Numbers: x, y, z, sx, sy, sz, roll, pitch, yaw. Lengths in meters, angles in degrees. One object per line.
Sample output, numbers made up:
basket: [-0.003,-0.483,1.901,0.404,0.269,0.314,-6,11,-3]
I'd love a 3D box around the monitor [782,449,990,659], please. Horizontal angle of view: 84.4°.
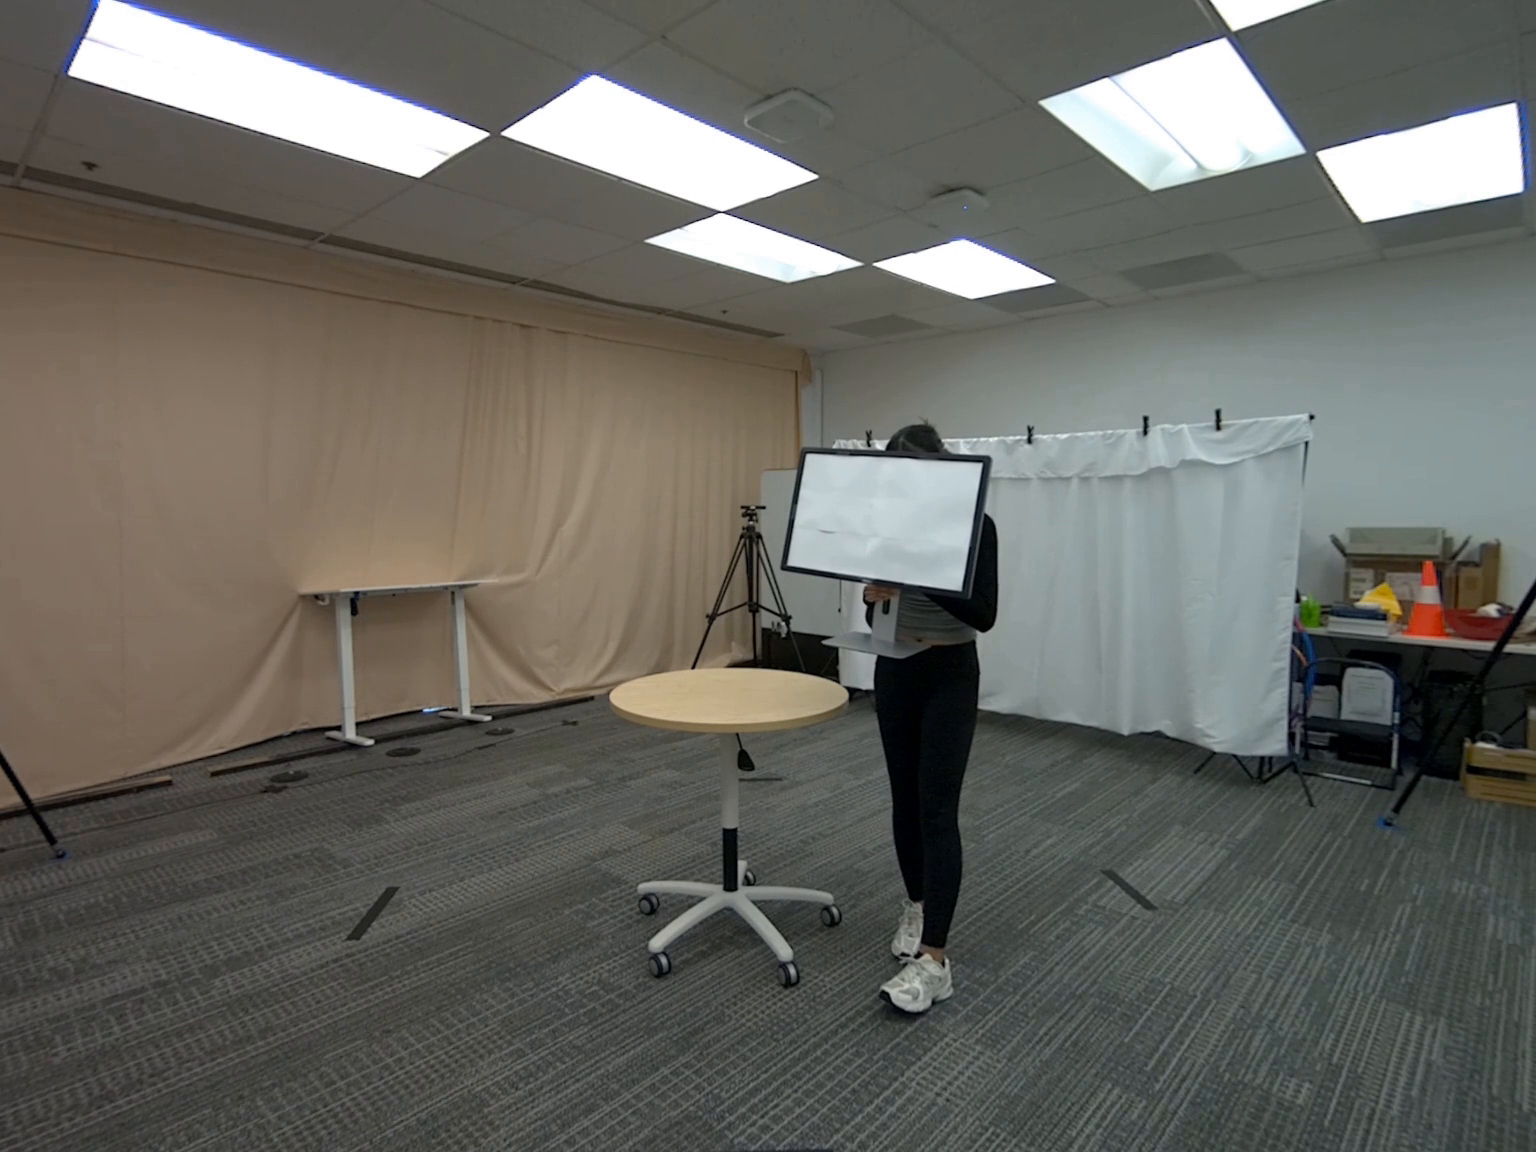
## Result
monitor: [0.325,-0.076,2.297,0.556,0.521,0.182,7,6,34]
